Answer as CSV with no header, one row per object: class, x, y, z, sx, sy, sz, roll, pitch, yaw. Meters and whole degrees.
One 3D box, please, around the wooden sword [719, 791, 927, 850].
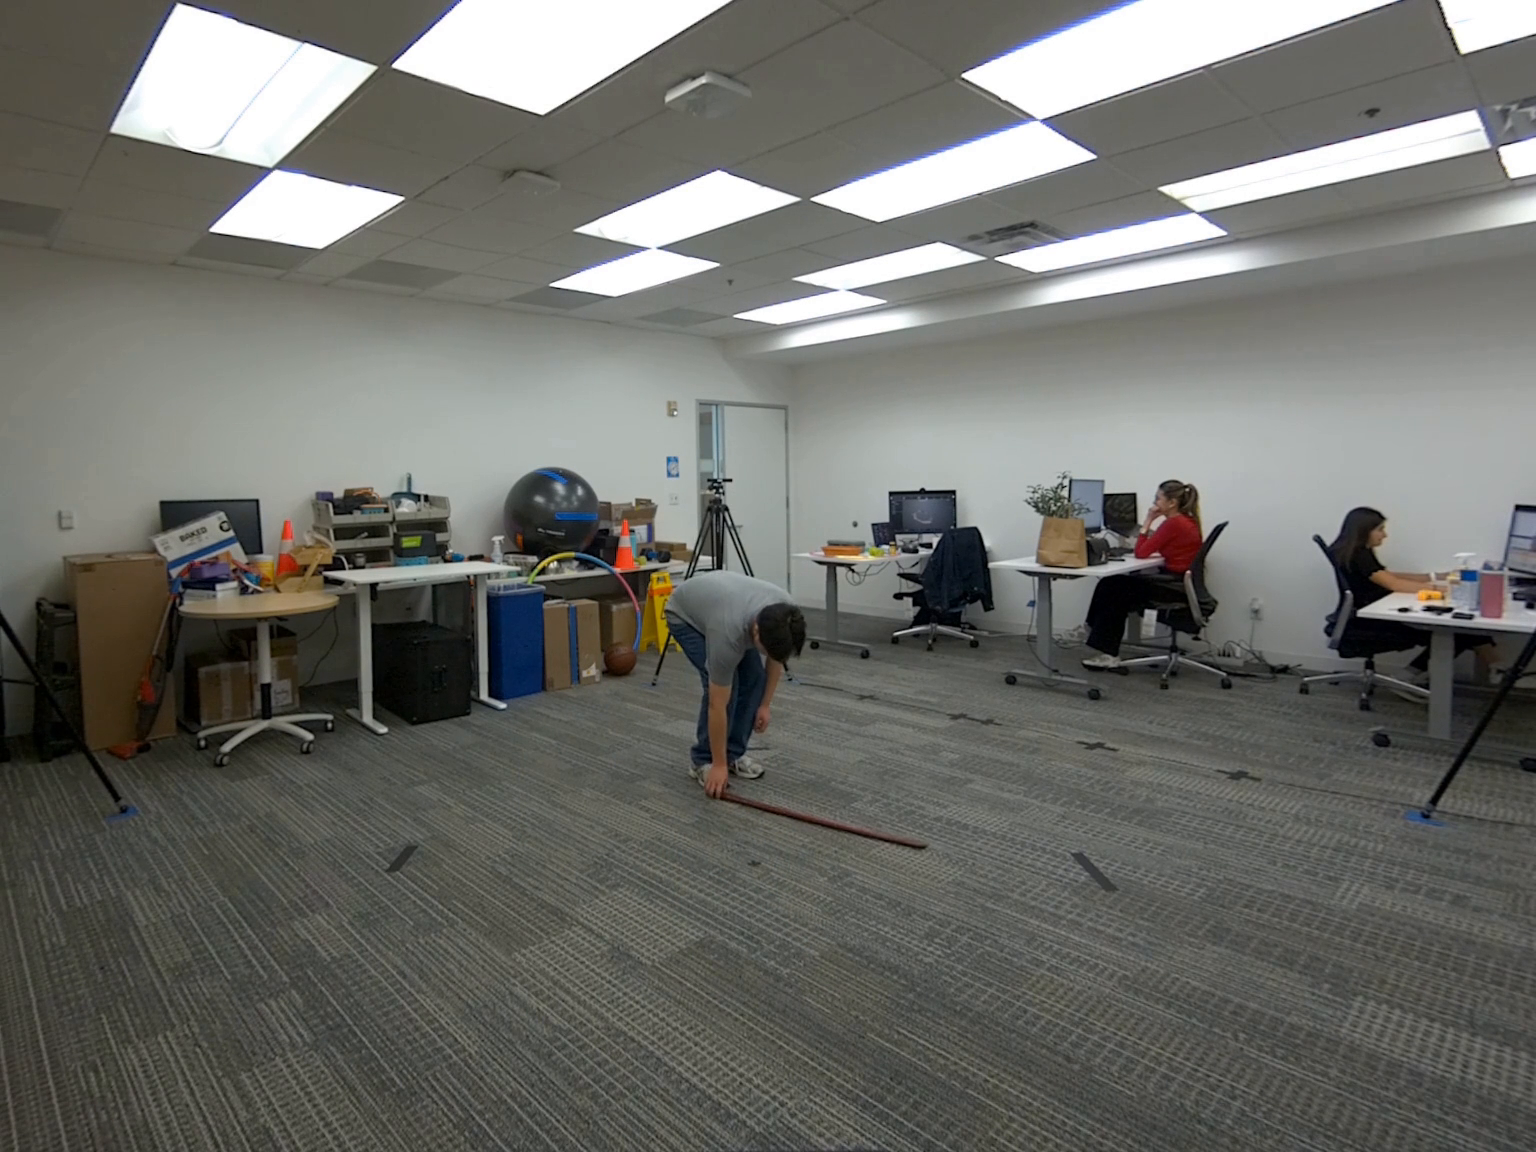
wooden sword,0.164,0.971,3.490,1.055,0.023,0.051,5,29,36
